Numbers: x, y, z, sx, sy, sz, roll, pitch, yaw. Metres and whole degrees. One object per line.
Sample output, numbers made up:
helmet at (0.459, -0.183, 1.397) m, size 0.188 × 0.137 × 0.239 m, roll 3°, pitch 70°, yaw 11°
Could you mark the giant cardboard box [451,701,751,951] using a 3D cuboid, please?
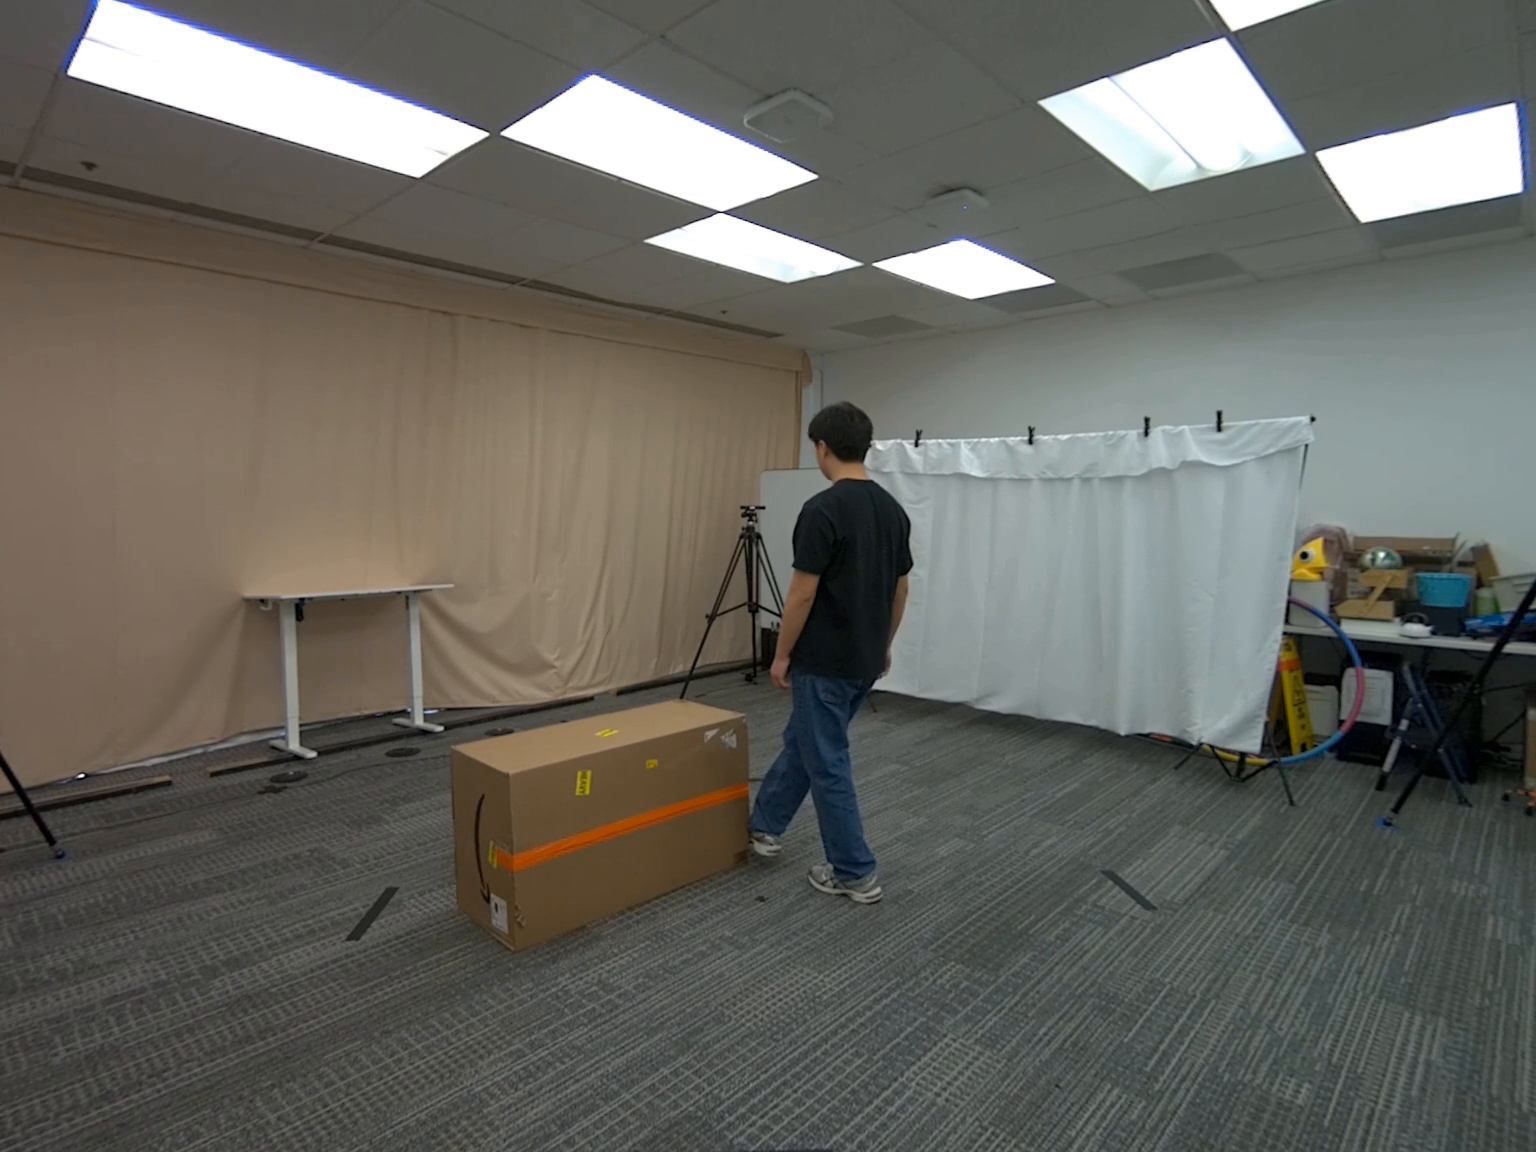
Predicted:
giant cardboard box at (-0.584, 0.852, 3.100) m, size 0.996 × 0.582 × 0.462 m, roll -5°, pitch 6°, yaw -43°
